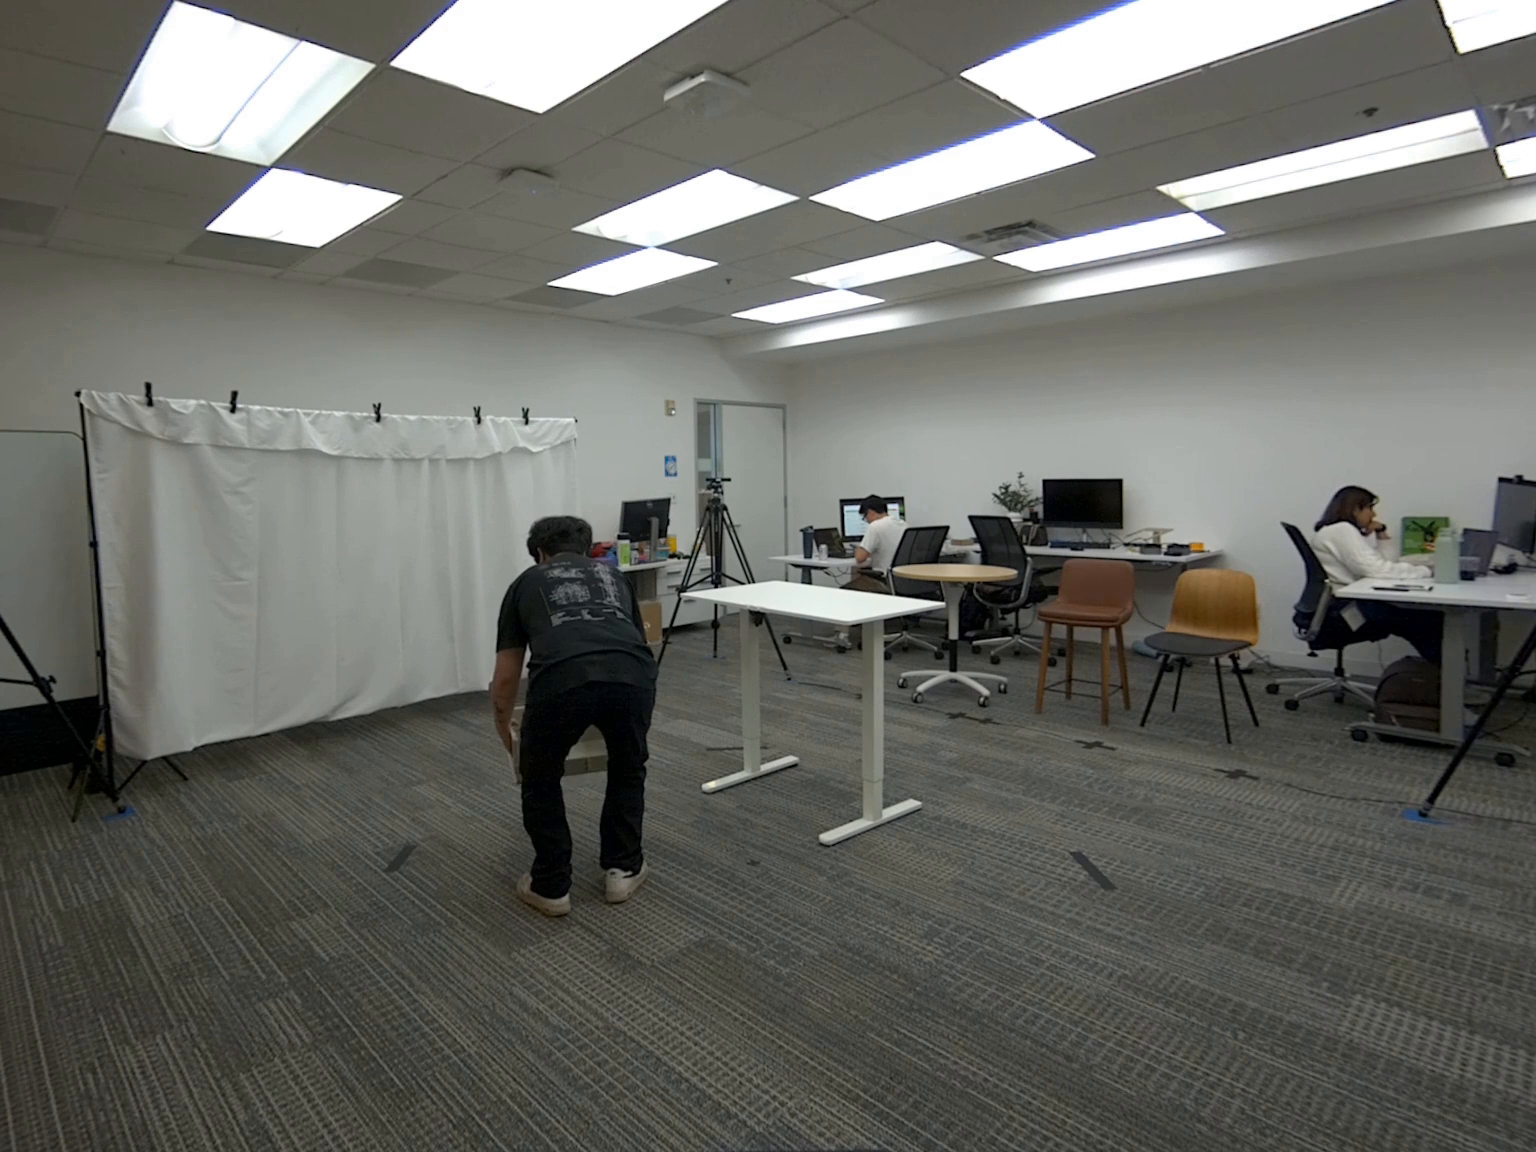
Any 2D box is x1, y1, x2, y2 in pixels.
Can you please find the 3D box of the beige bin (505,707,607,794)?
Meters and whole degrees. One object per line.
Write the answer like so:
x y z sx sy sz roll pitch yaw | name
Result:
-0.761 0.623 3.218 0.415 0.188 0.386 -4 9 -19 | beige bin
